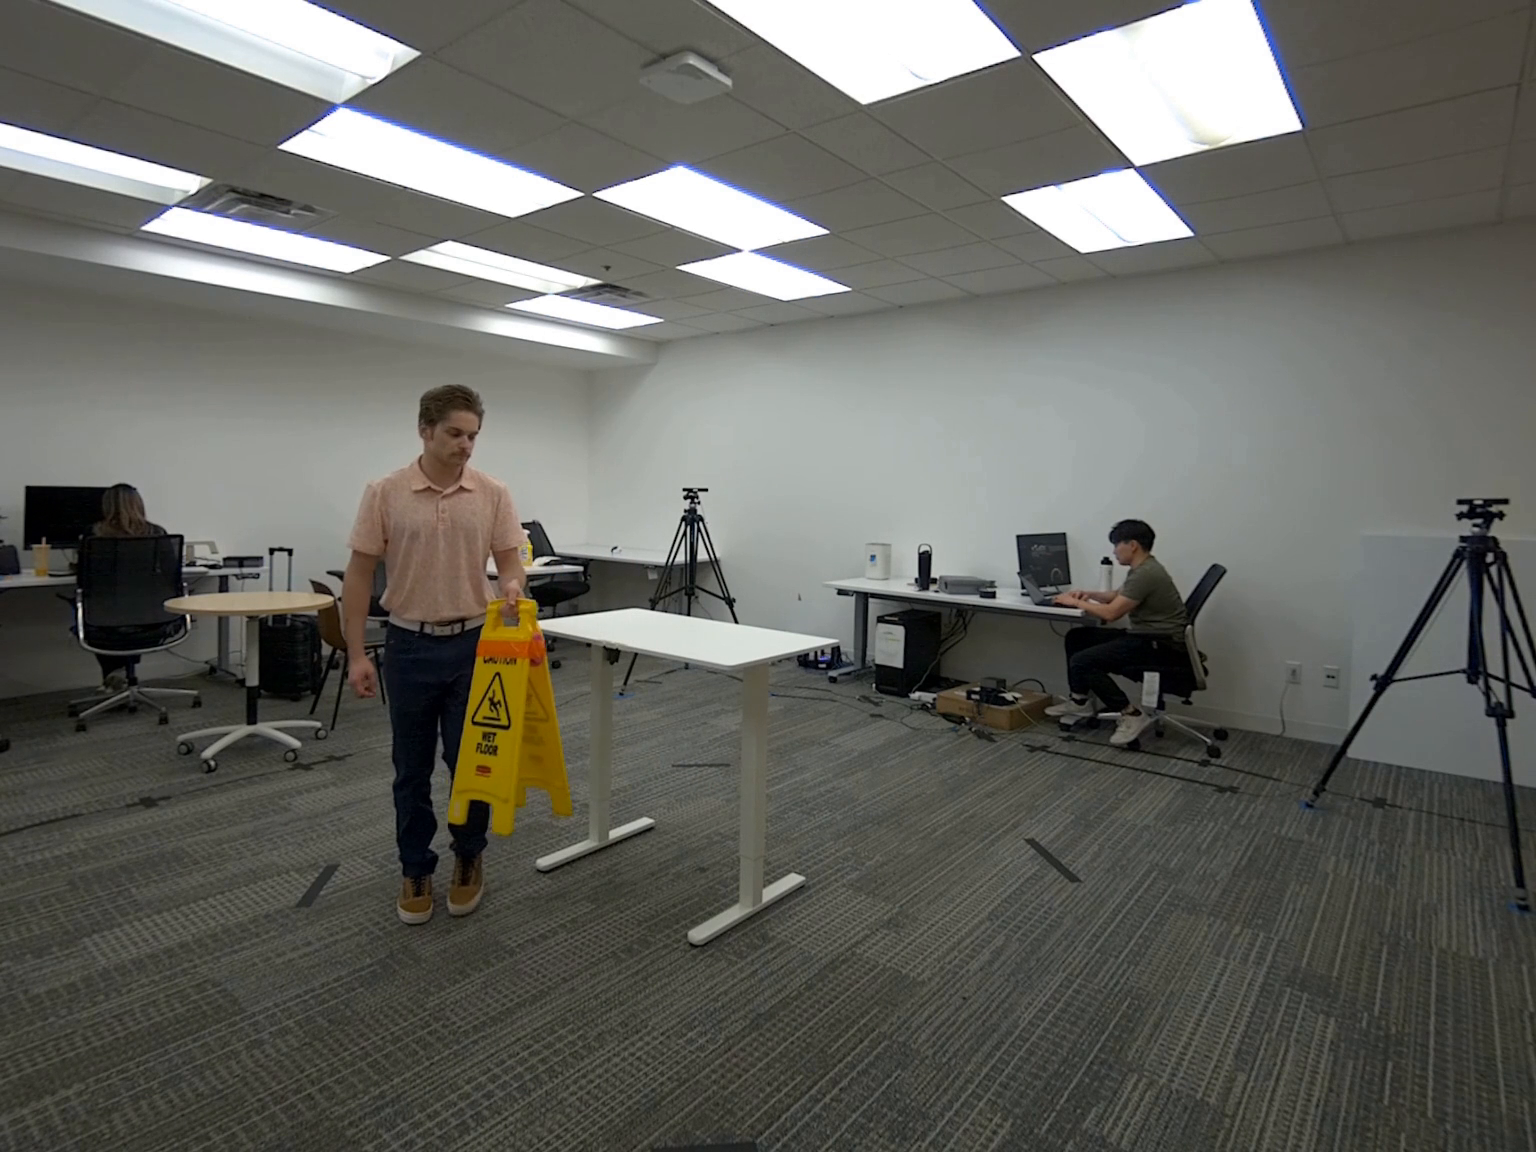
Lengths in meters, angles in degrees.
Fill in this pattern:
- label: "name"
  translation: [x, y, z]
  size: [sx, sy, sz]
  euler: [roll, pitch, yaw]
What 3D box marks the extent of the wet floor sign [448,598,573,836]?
- label: "wet floor sign"
  translation: [-0.781, 0.397, 2.541]
  size: [0.290, 0.648, 0.281]
  euler: [-4, -4, 34]
